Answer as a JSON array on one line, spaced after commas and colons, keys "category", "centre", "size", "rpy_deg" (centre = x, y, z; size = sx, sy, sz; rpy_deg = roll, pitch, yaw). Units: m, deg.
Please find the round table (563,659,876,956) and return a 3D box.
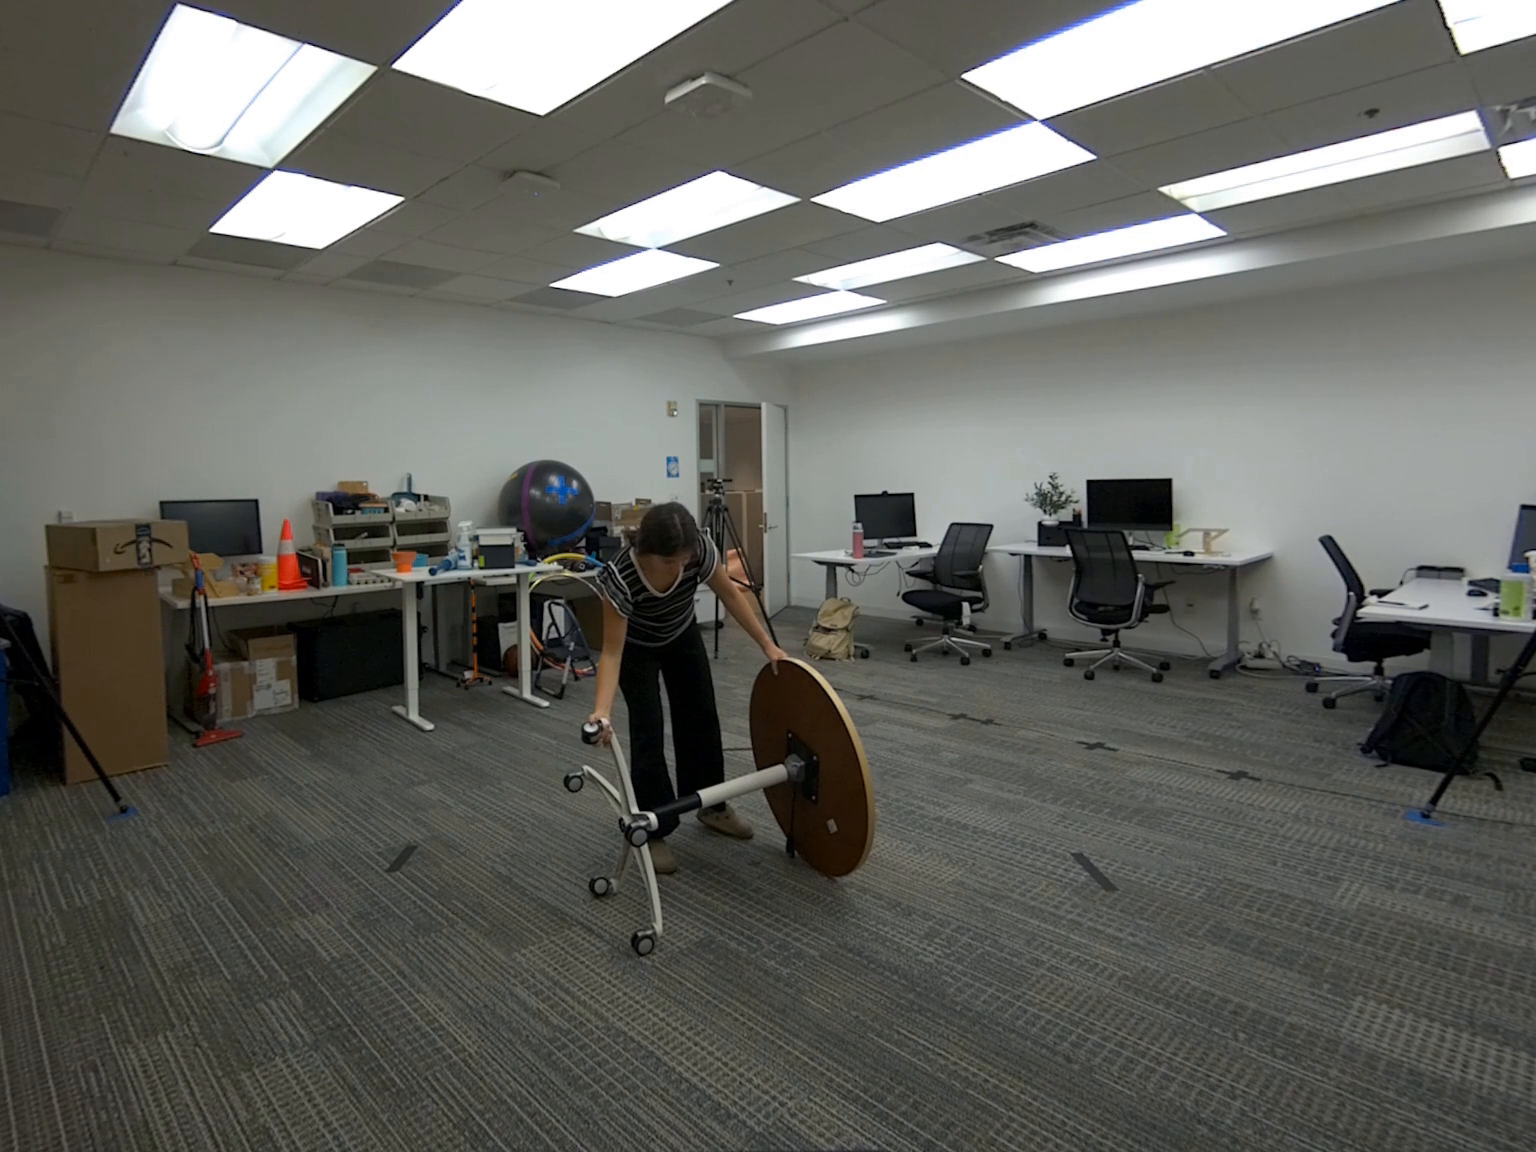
[{"category": "round table", "centre": [-0.193, 0.743, 2.851], "size": [0.778, 0.759, 0.784], "rpy_deg": [-10, 8, -28]}]
